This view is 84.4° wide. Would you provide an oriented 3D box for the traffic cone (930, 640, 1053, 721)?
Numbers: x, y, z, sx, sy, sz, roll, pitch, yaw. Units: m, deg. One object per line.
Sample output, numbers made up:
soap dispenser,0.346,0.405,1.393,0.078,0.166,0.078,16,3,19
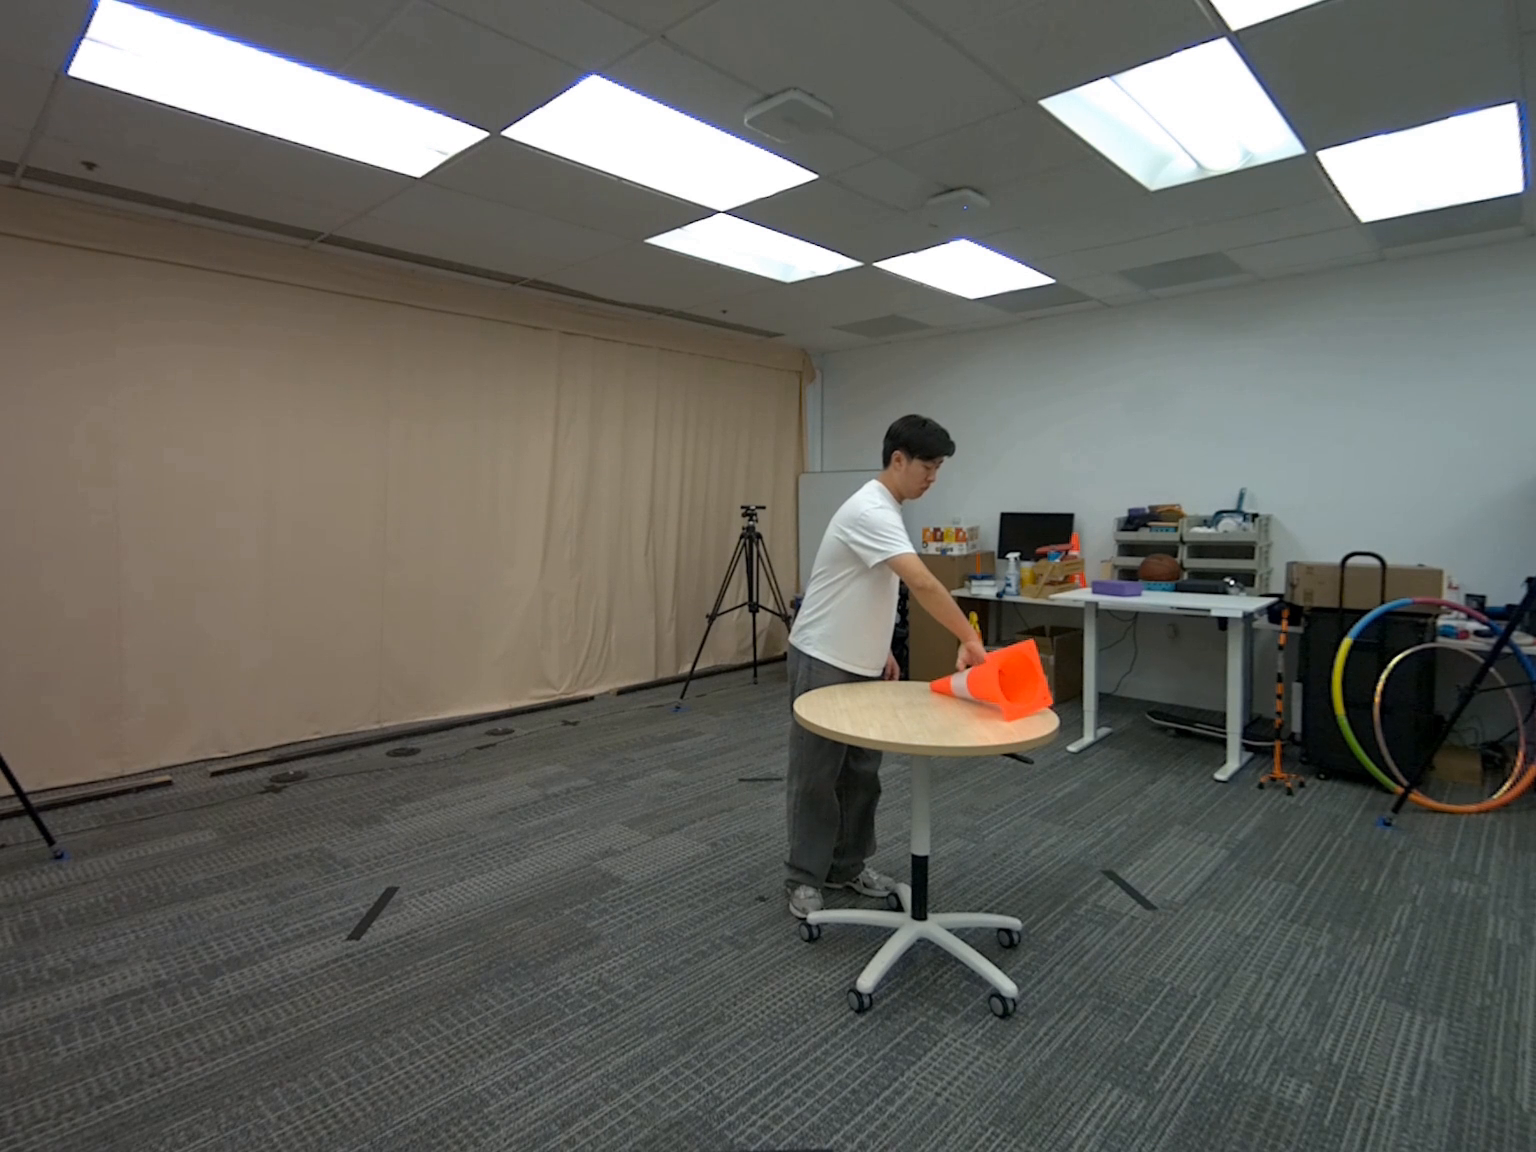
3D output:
traffic cone,0.647,0.341,2.589,0.200,0.204,0.390,-11,-6,-30
